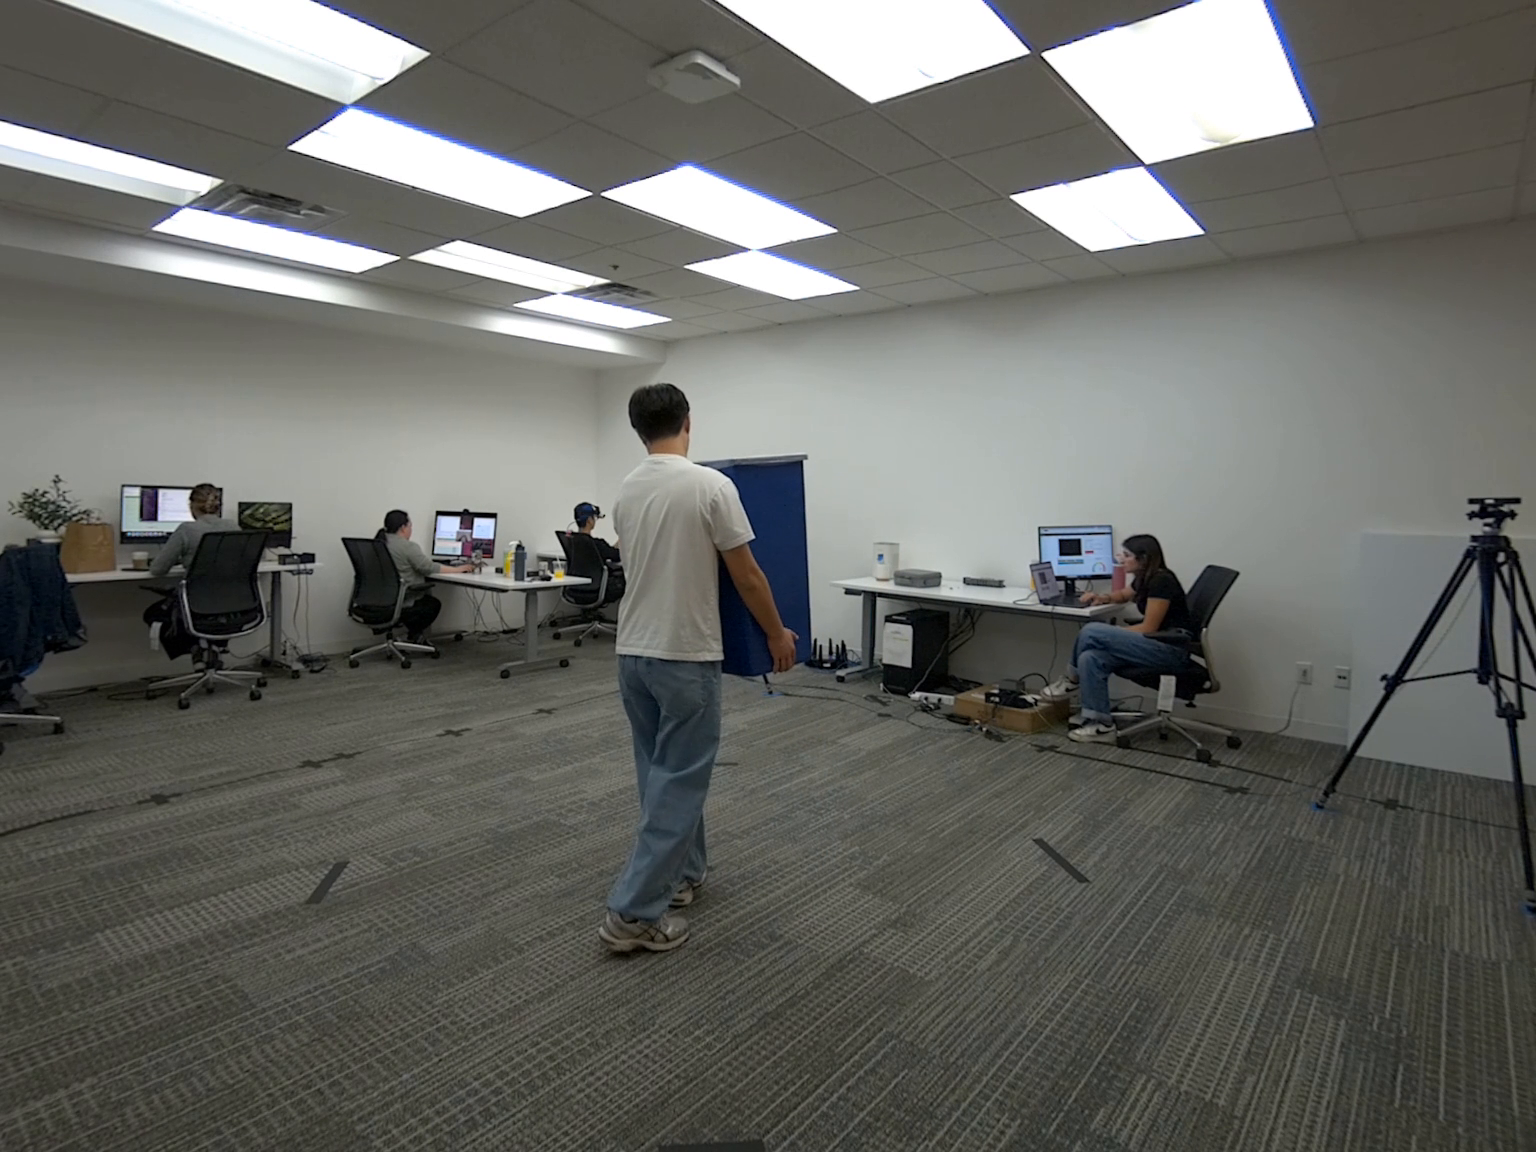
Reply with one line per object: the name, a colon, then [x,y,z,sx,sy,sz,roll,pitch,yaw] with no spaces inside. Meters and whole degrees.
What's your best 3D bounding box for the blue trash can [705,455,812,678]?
blue trash can: [-0.080,-0.053,2.937,0.368,0.711,0.386,-10,5,-44]
